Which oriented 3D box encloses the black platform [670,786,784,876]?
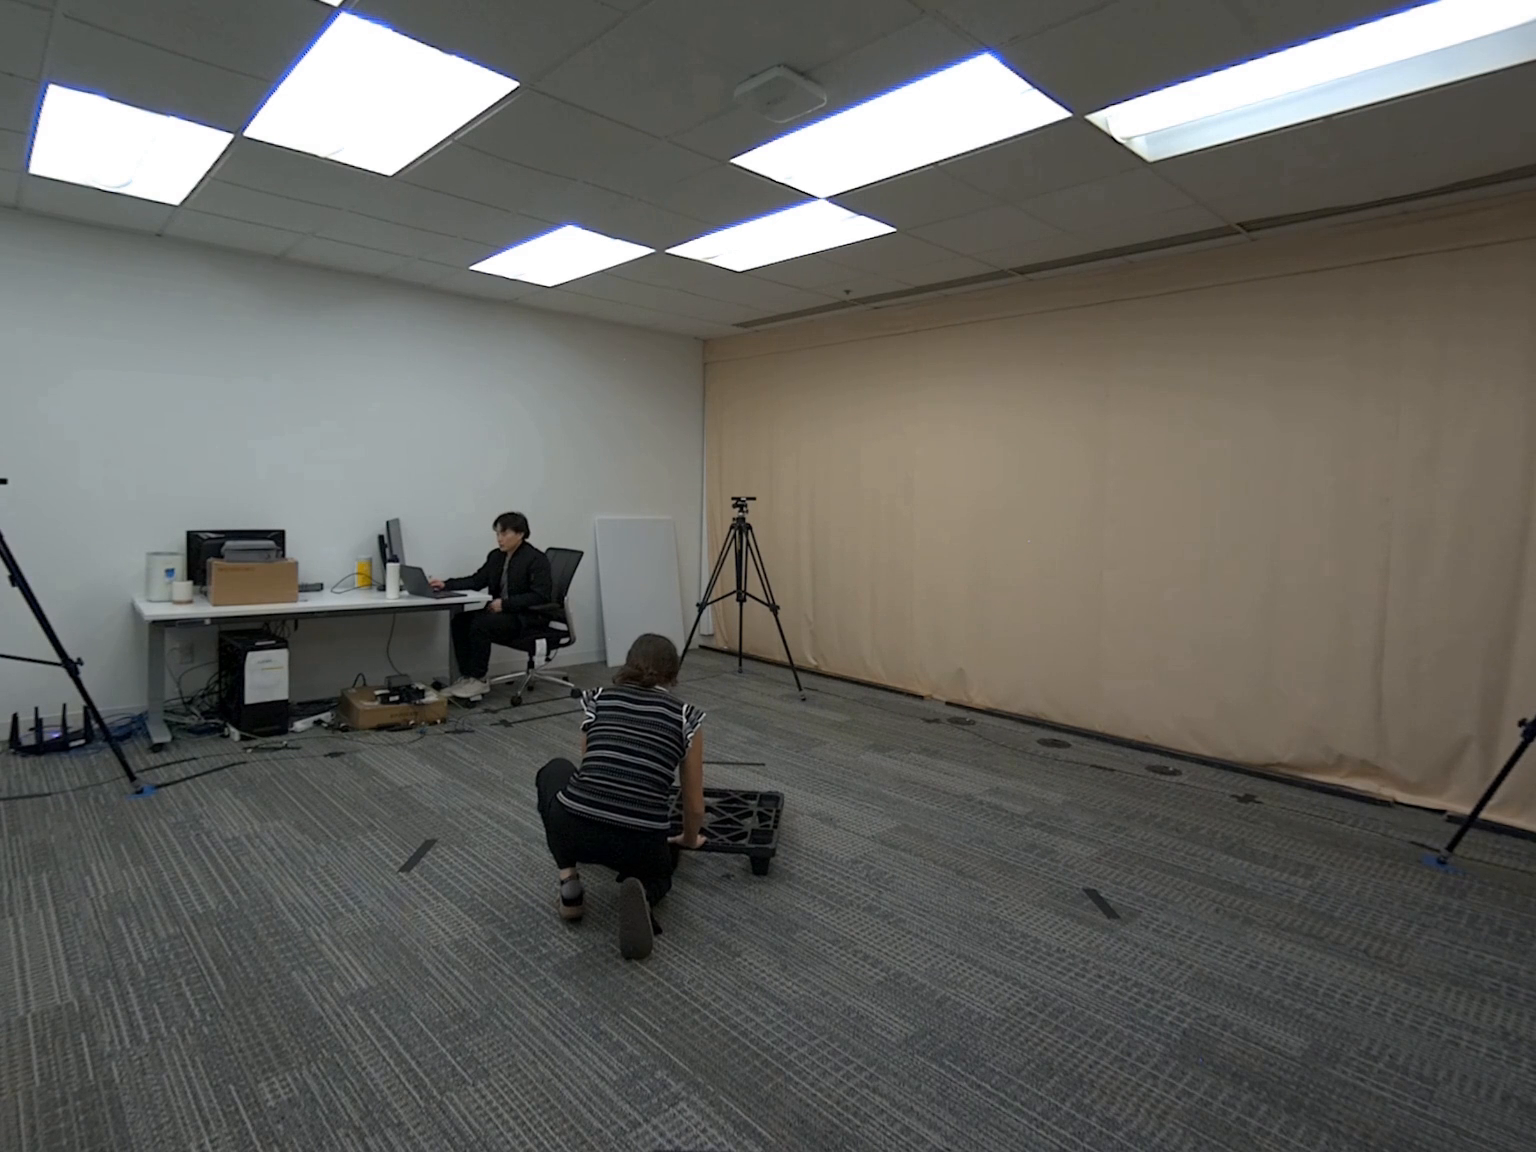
[{"bbox_3d":[-0.351,1.011,3.381,0.810,0.143,0.604,2,6,6],"label":"black platform"}]
